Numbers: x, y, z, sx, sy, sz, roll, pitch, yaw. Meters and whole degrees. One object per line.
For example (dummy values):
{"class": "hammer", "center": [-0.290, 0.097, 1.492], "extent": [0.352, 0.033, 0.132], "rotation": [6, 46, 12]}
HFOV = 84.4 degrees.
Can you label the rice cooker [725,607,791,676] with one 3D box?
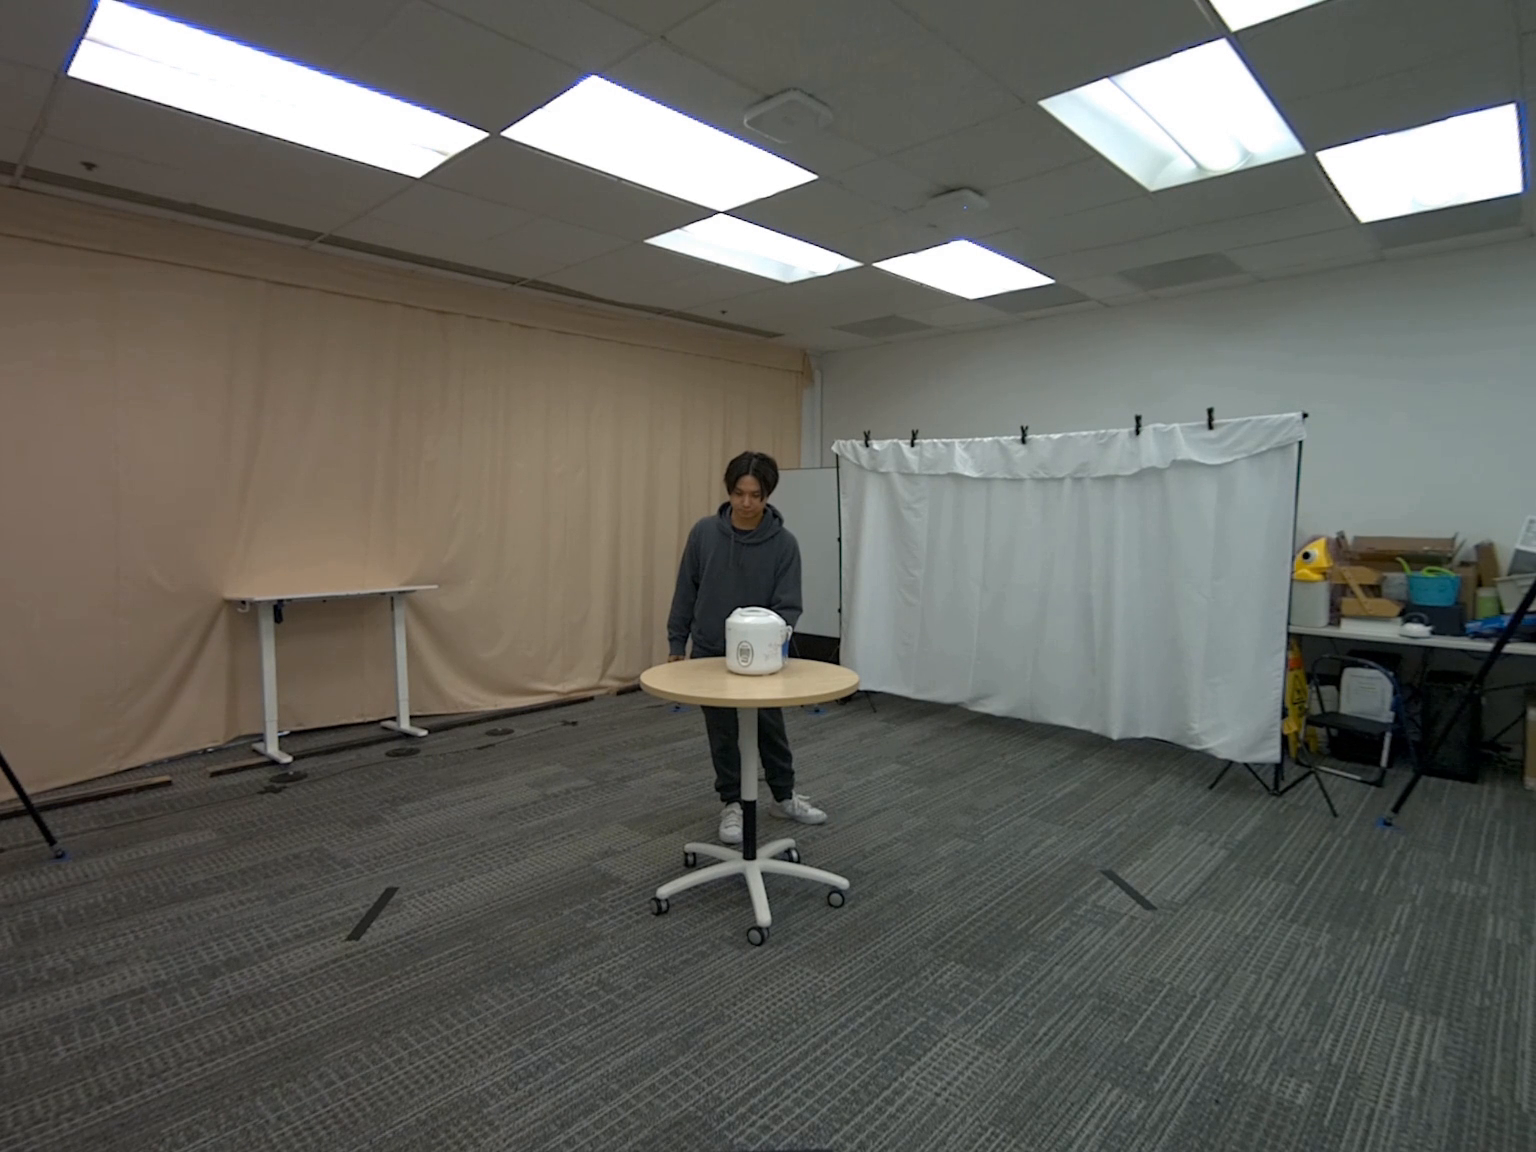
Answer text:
{"class": "rice cooker", "center": [-0.047, 0.226, 3.025], "extent": [0.225, 0.232, 0.213], "rotation": [1, 3, 21]}
